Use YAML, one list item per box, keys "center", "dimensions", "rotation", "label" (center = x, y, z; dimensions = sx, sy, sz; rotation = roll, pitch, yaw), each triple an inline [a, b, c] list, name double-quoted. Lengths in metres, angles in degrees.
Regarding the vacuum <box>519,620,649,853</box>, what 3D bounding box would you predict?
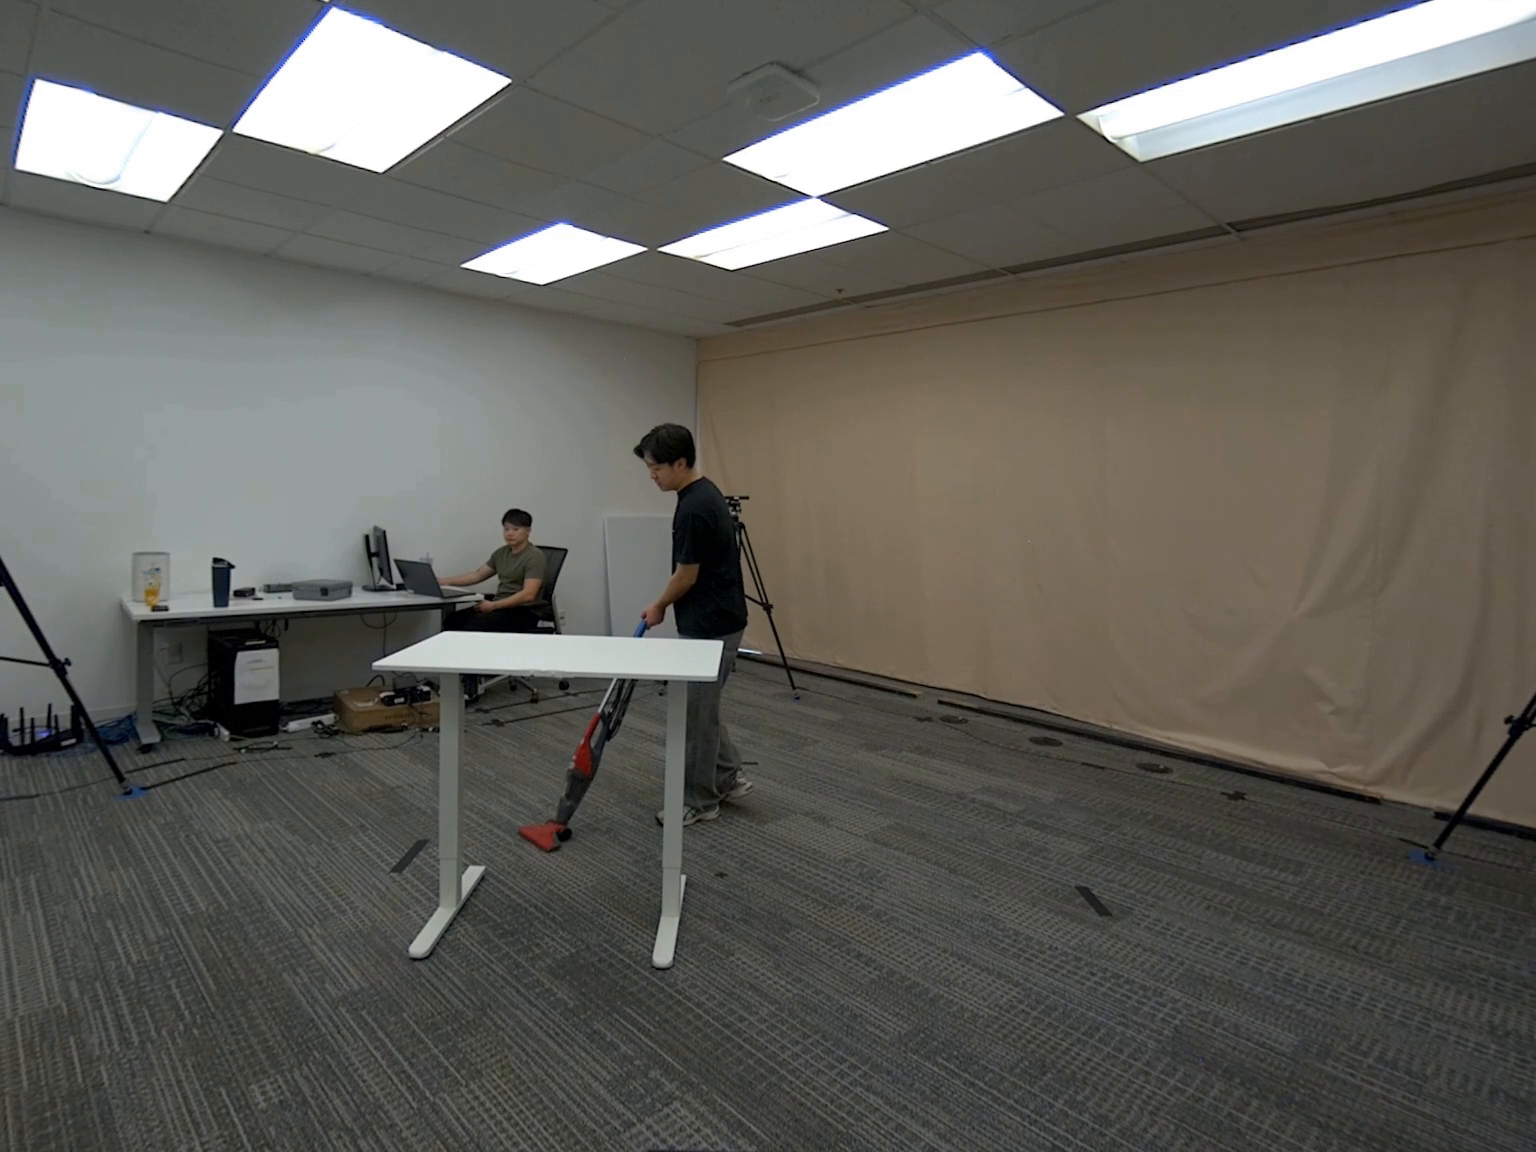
- center: [-0.702, 0.601, 3.543]
  dimensions: [0.259, 1.056, 0.139]
  rotation: [4, -26, 46]
  label: "vacuum"
